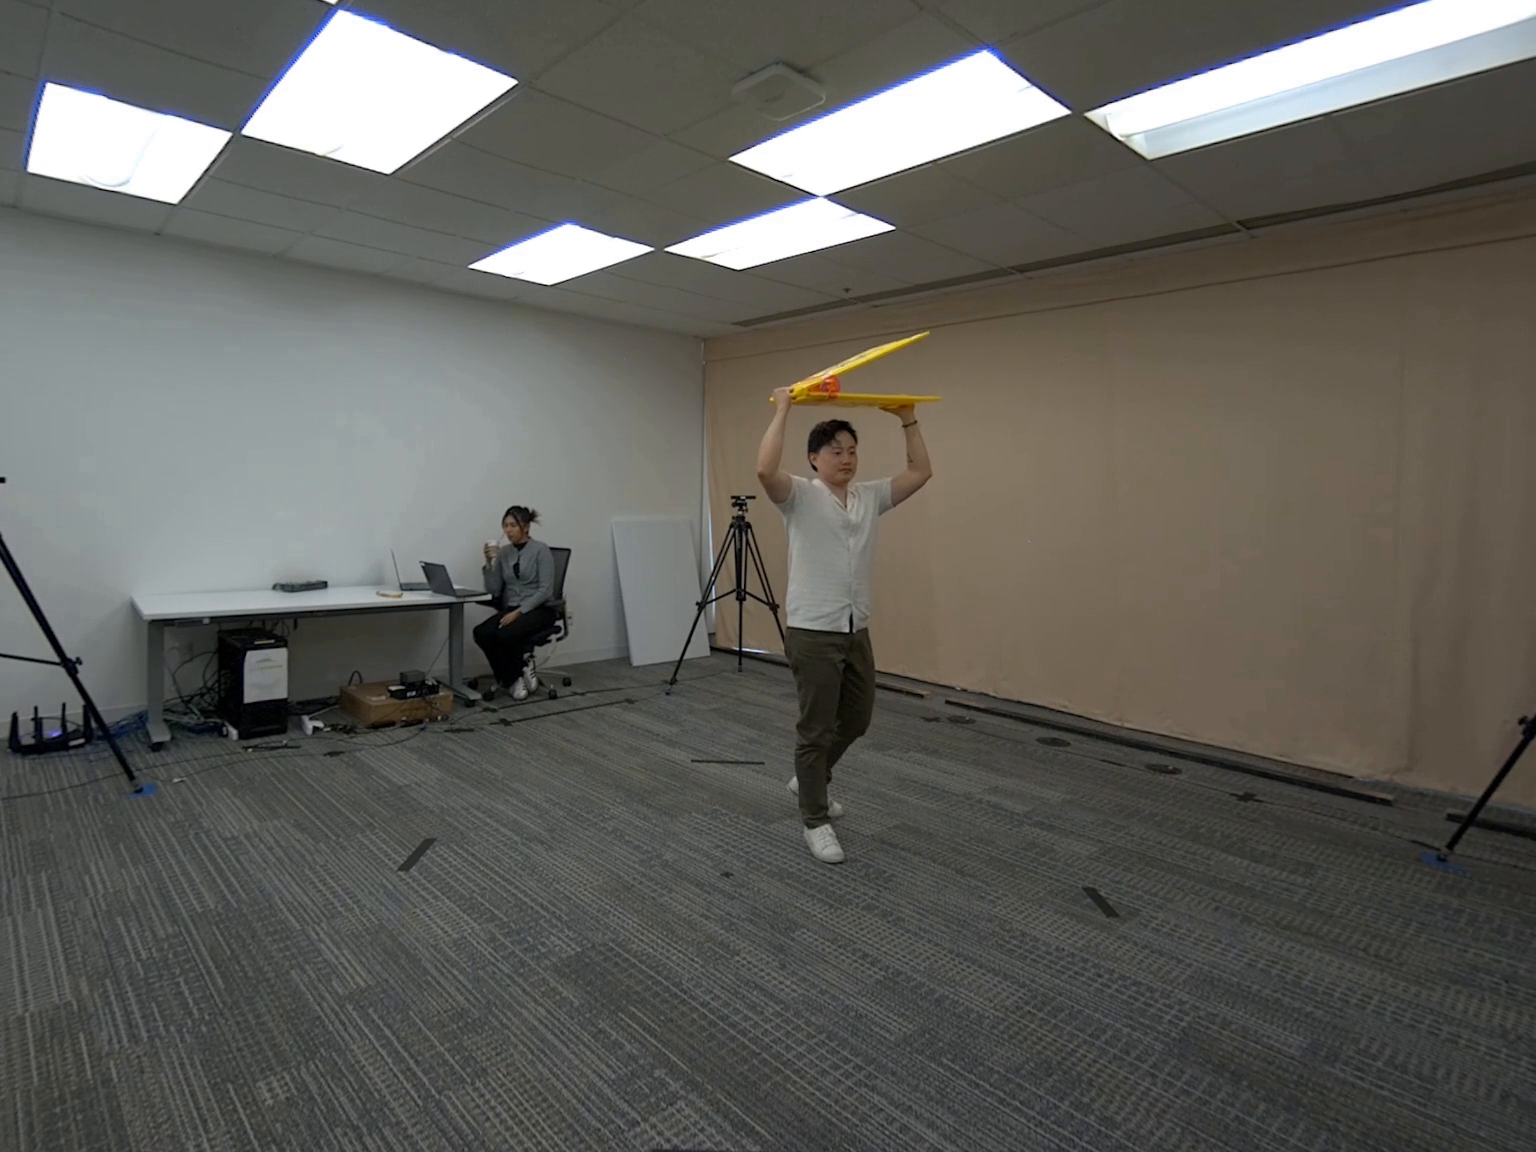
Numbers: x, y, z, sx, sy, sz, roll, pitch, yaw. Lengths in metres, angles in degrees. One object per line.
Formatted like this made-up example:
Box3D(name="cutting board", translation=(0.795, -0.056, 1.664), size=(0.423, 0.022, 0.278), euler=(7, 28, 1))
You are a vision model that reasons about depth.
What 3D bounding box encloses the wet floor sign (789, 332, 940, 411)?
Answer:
Box3D(name="wet floor sign", translation=(0.311, -0.743, 3.274), size=(0.637, 0.287, 0.288), euler=(-17, 10, -28))
